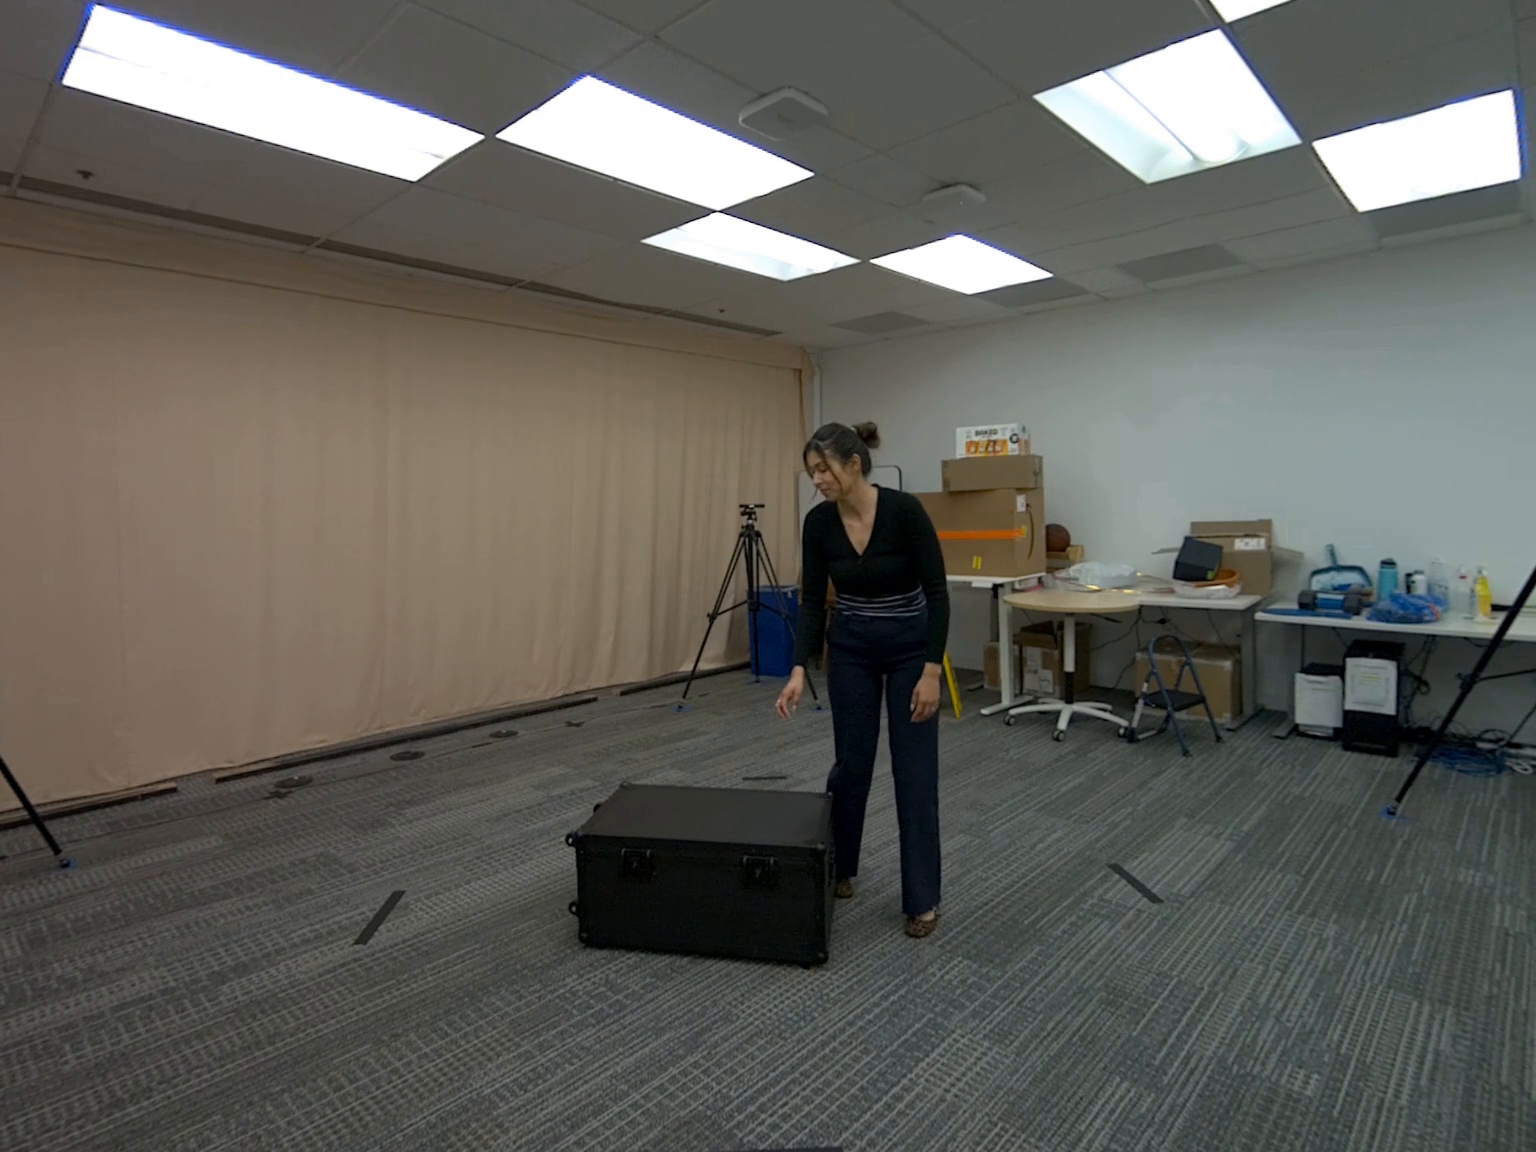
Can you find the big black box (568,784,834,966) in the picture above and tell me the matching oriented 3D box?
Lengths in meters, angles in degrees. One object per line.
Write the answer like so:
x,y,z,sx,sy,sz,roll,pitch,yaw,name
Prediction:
-0.217,0.962,2.810,0.872,0.395,0.516,1,4,11,big black box
